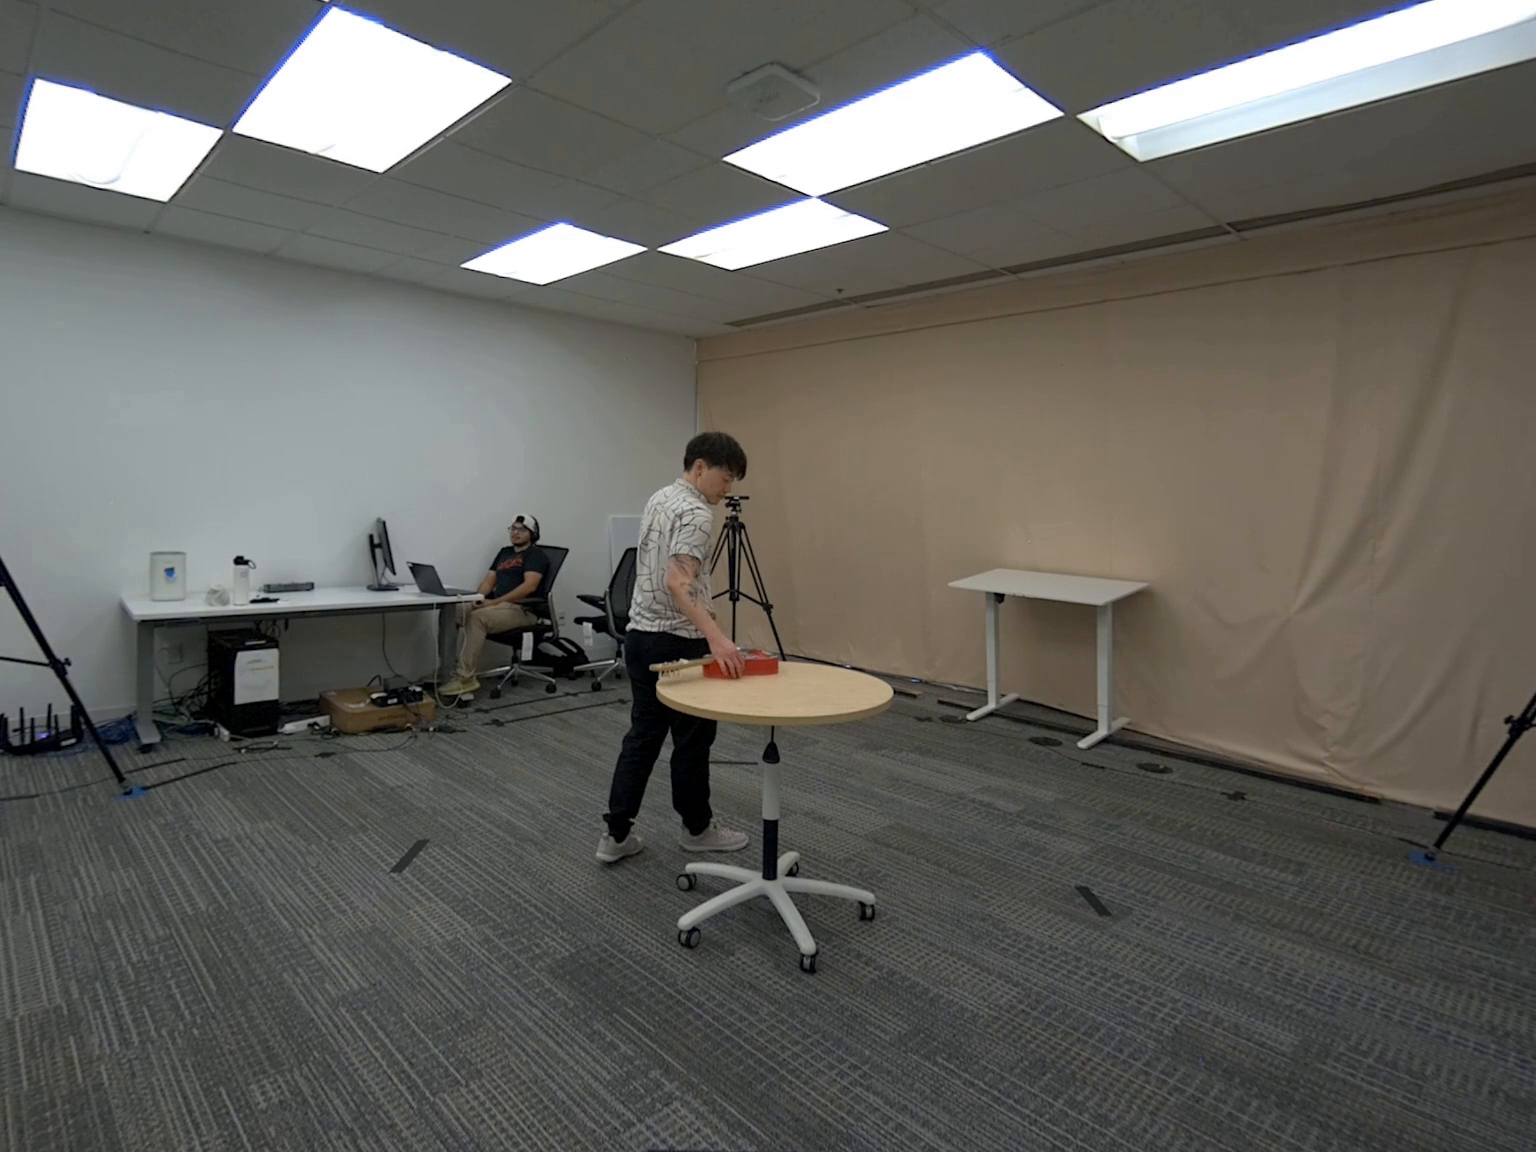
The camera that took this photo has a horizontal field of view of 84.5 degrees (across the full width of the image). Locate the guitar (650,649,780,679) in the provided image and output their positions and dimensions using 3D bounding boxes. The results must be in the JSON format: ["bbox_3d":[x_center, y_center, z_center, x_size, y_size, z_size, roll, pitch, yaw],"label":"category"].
[{"bbox_3d":[-0.198,0.307,2.873,0.488,0.070,0.197,-2,6,-31],"label":"guitar"}]
